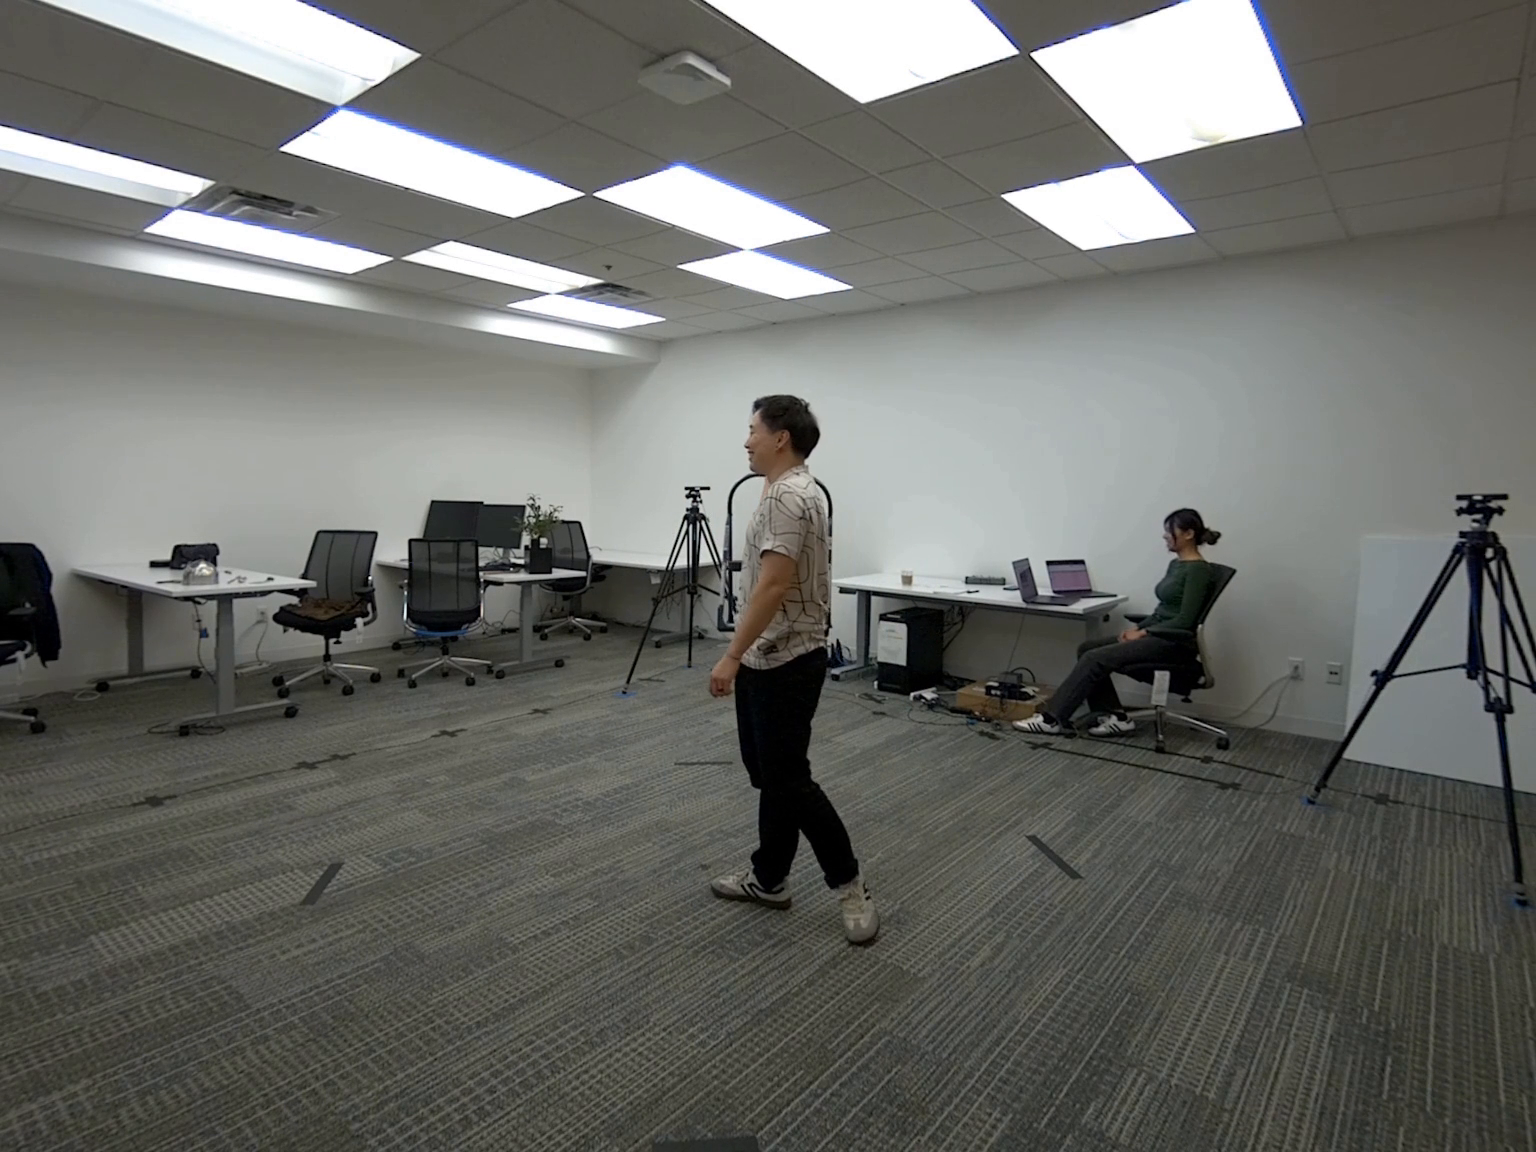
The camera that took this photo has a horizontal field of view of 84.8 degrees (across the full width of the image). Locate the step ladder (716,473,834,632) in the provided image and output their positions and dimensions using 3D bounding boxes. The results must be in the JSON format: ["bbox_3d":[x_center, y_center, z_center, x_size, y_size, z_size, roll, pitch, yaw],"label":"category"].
[{"bbox_3d":[0.027,-0.099,3.284,0.434,0.605,0.347,2,1,7],"label":"step ladder"}]
